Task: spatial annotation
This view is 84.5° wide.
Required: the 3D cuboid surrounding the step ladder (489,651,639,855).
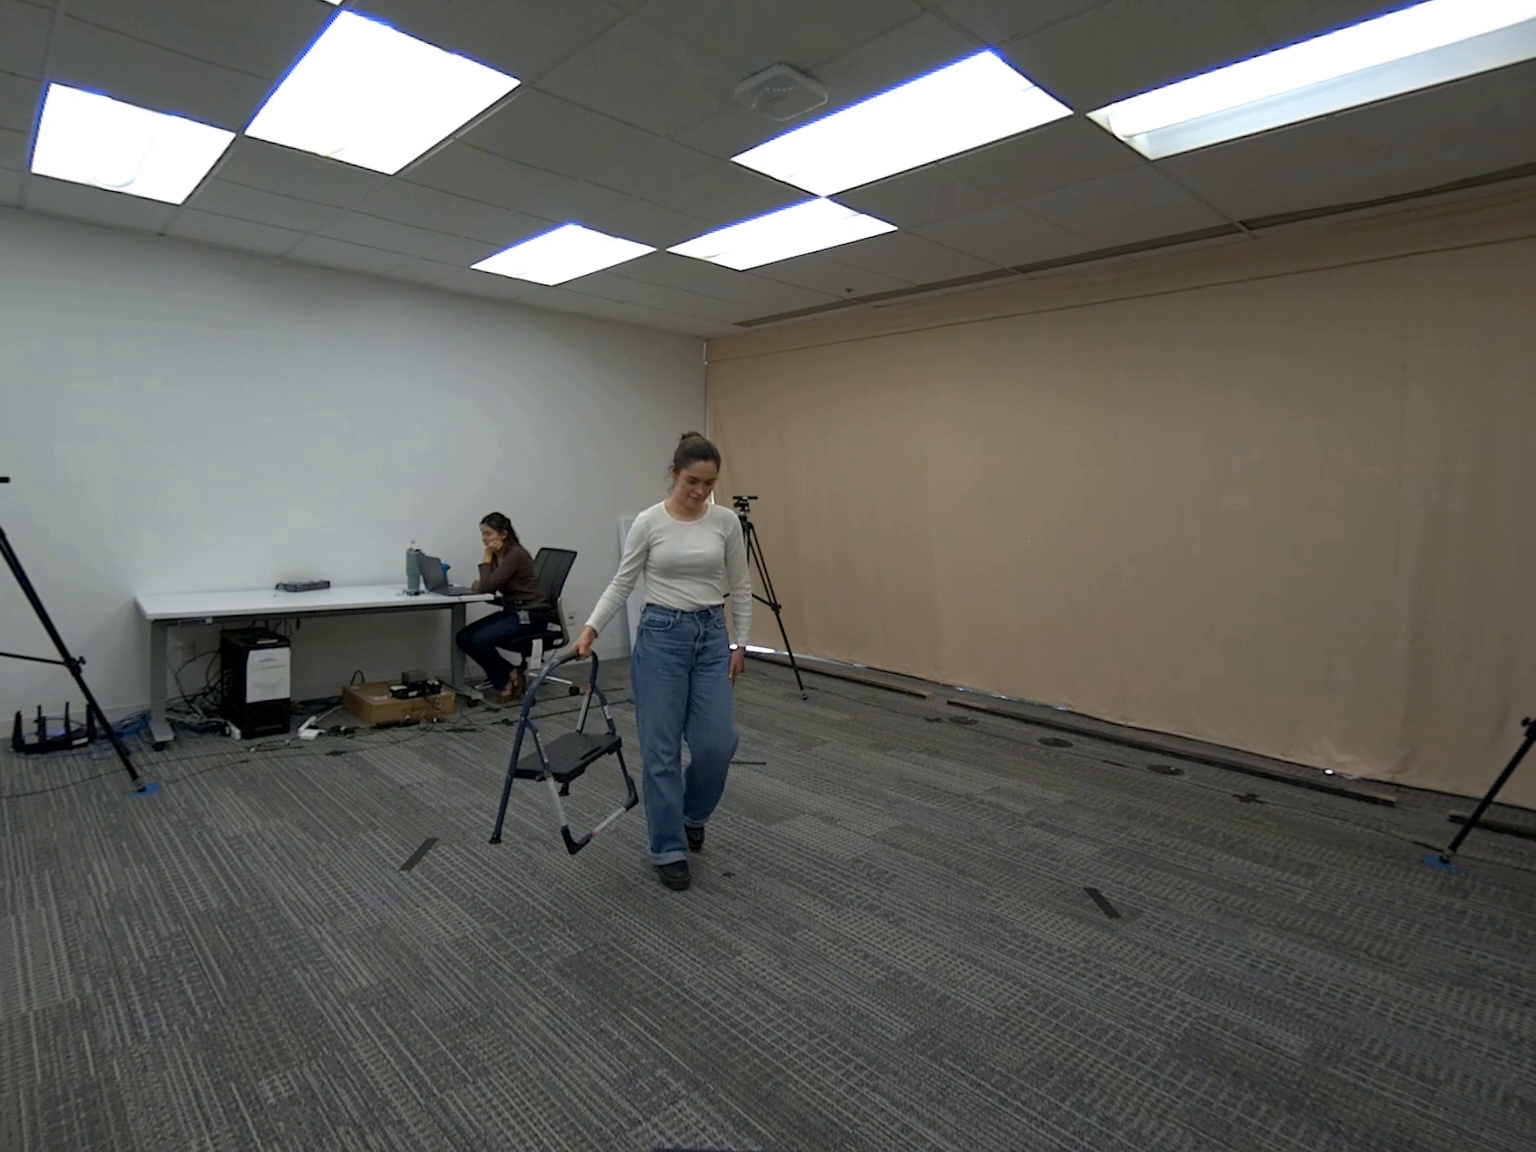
[{"bbox_3d":[-0.734,0.571,2.899,0.355,0.603,0.426,-2,8,23],"label":"step ladder"}]
